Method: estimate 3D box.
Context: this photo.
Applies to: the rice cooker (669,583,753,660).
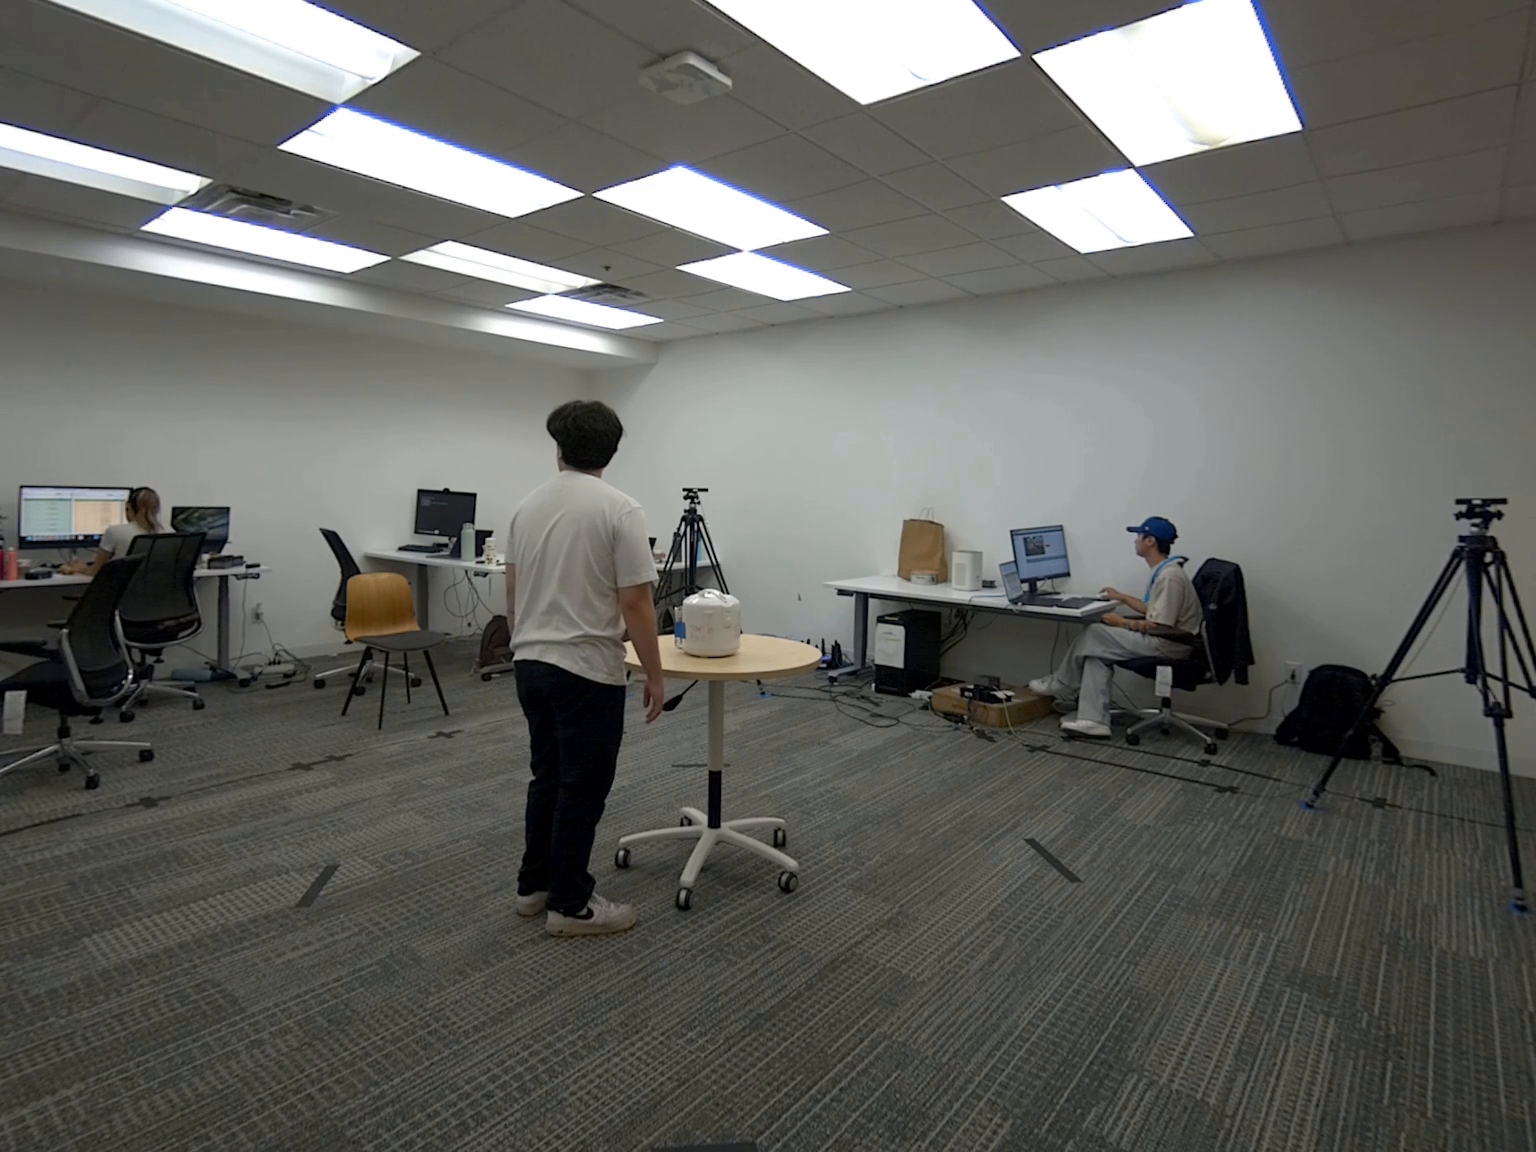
[{"bbox_3d":[-0.211,0.158,3.069,0.211,0.232,0.228,-3,5,-34],"label":"rice cooker"}]
